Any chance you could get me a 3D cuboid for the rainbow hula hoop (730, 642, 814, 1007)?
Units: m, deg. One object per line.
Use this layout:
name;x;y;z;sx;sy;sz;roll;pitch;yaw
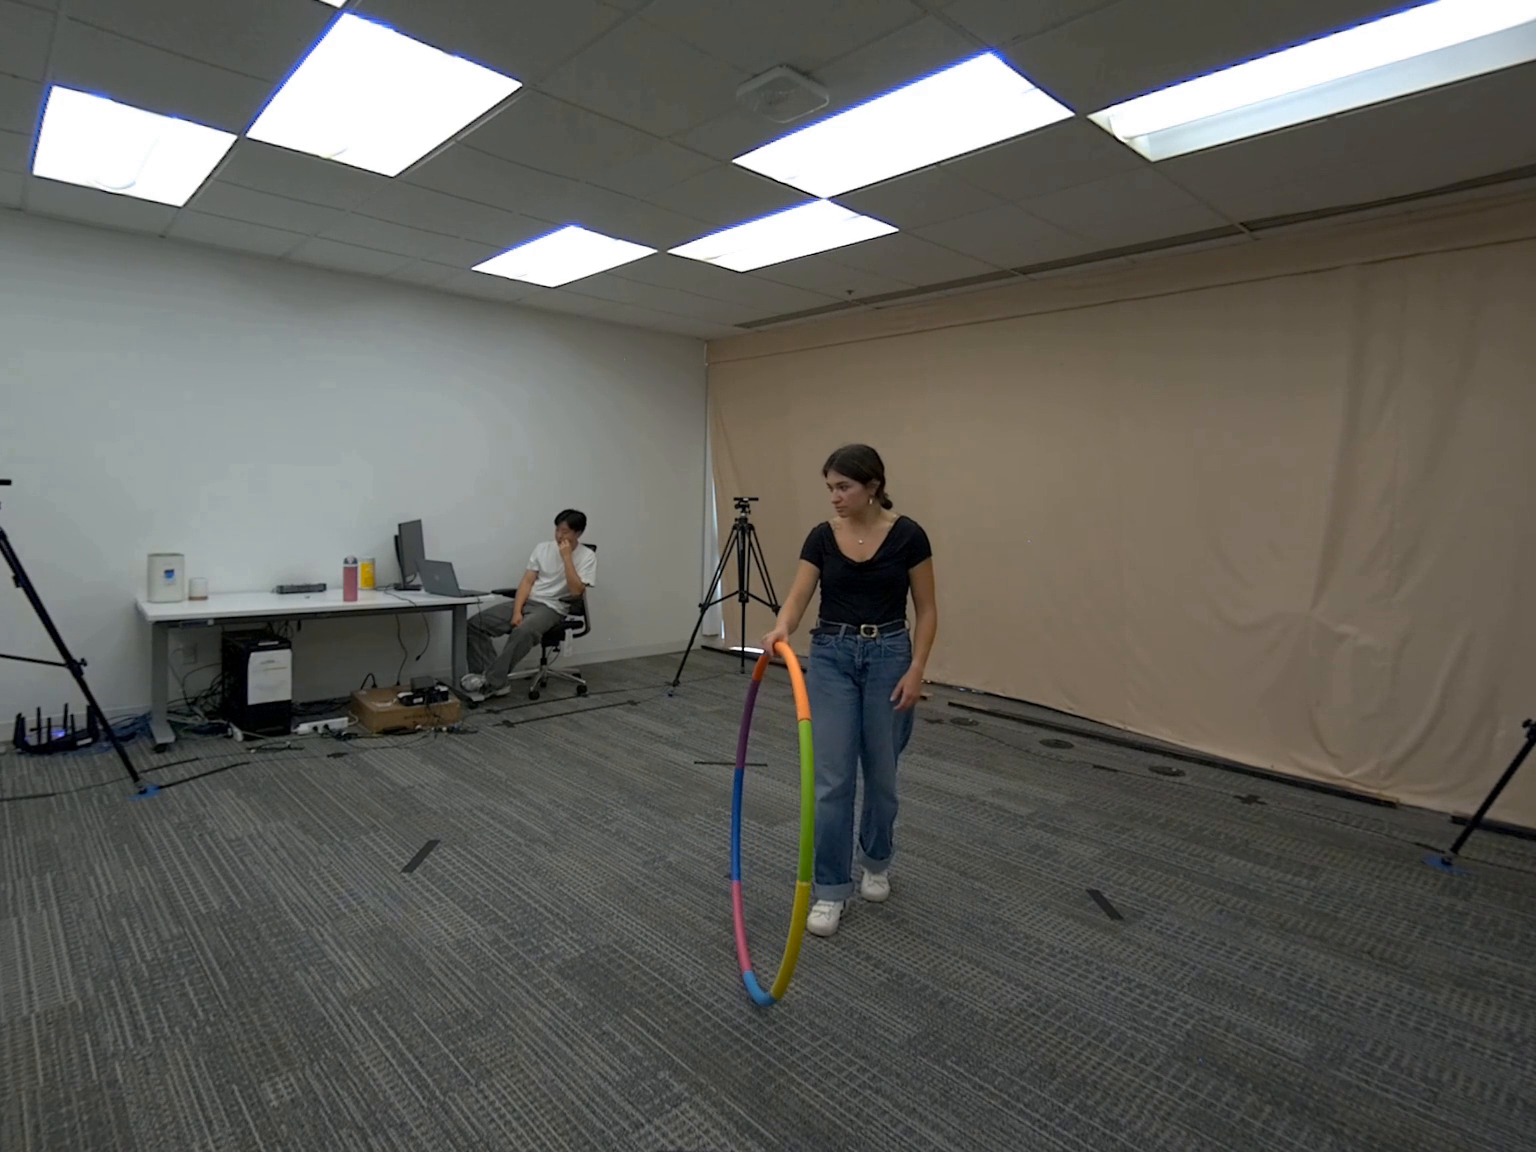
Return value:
rainbow hula hoop;-0.019;0.691;2.422;0.035;0.977;0.989;5;3;-12
